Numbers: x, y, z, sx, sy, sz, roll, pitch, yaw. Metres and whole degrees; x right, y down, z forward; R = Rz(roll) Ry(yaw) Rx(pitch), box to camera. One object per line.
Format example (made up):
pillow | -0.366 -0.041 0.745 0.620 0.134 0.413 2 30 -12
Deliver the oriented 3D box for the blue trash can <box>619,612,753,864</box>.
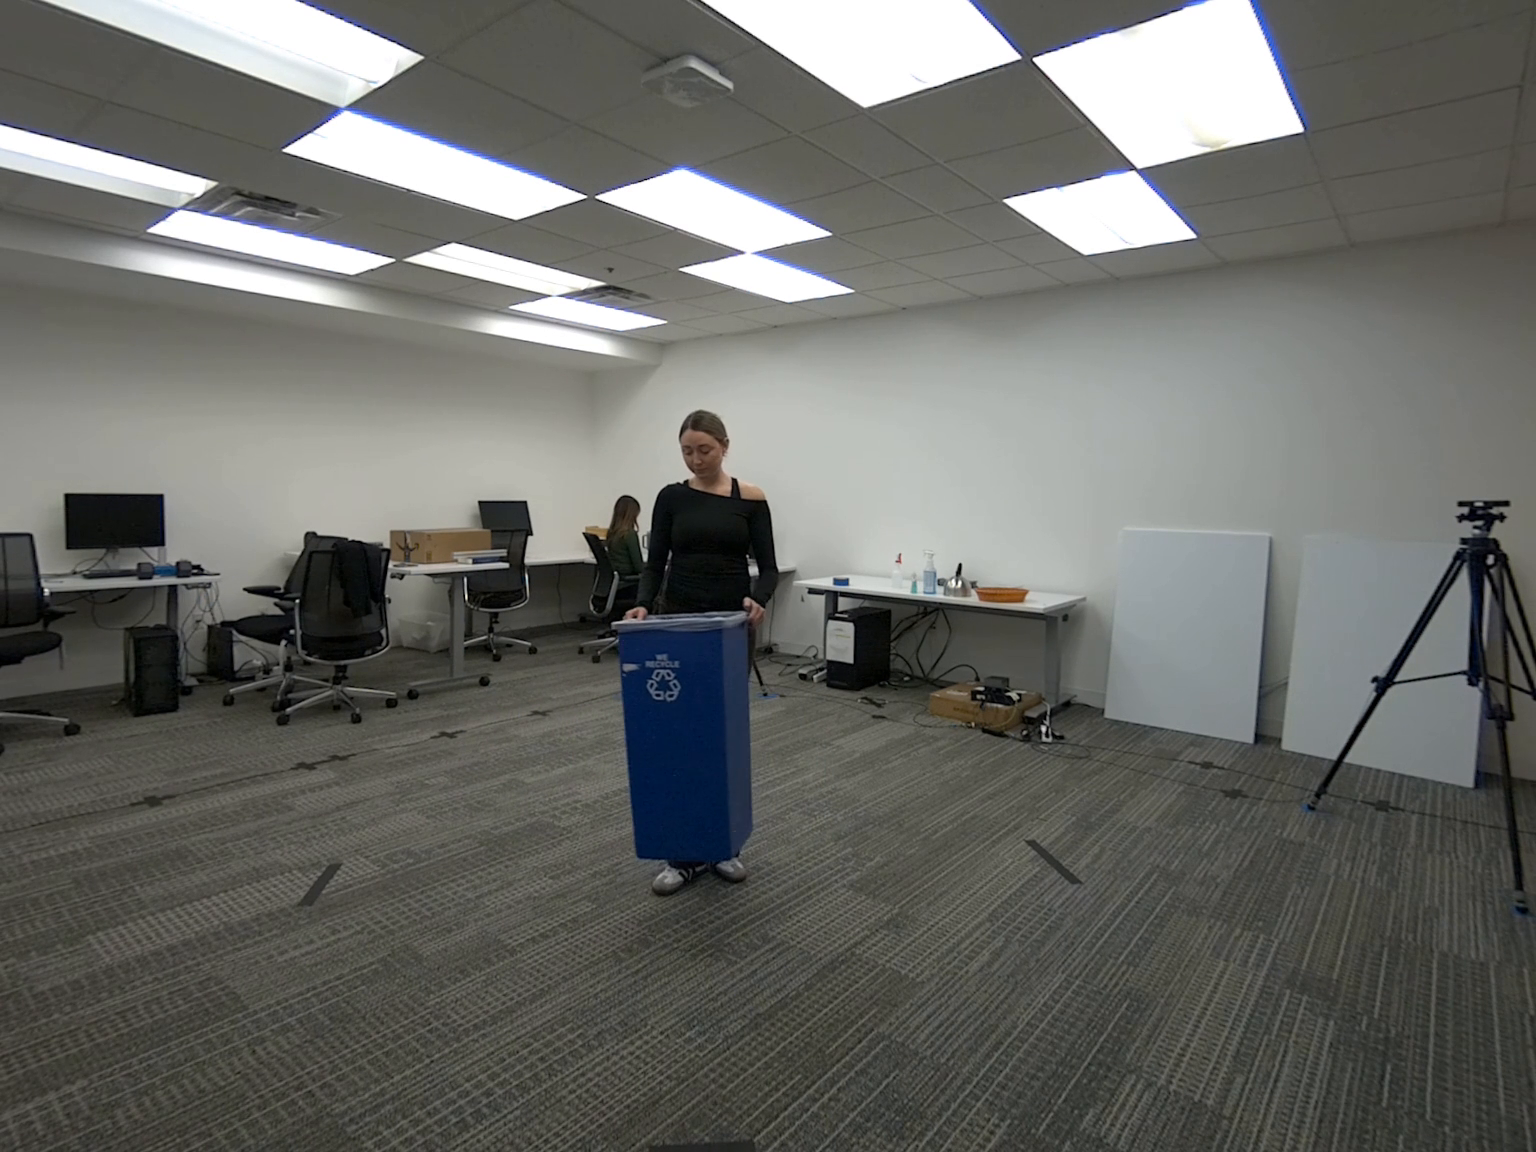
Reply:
blue trash can | -0.251 0.486 2.691 0.379 0.716 0.372 -5 -2 13
